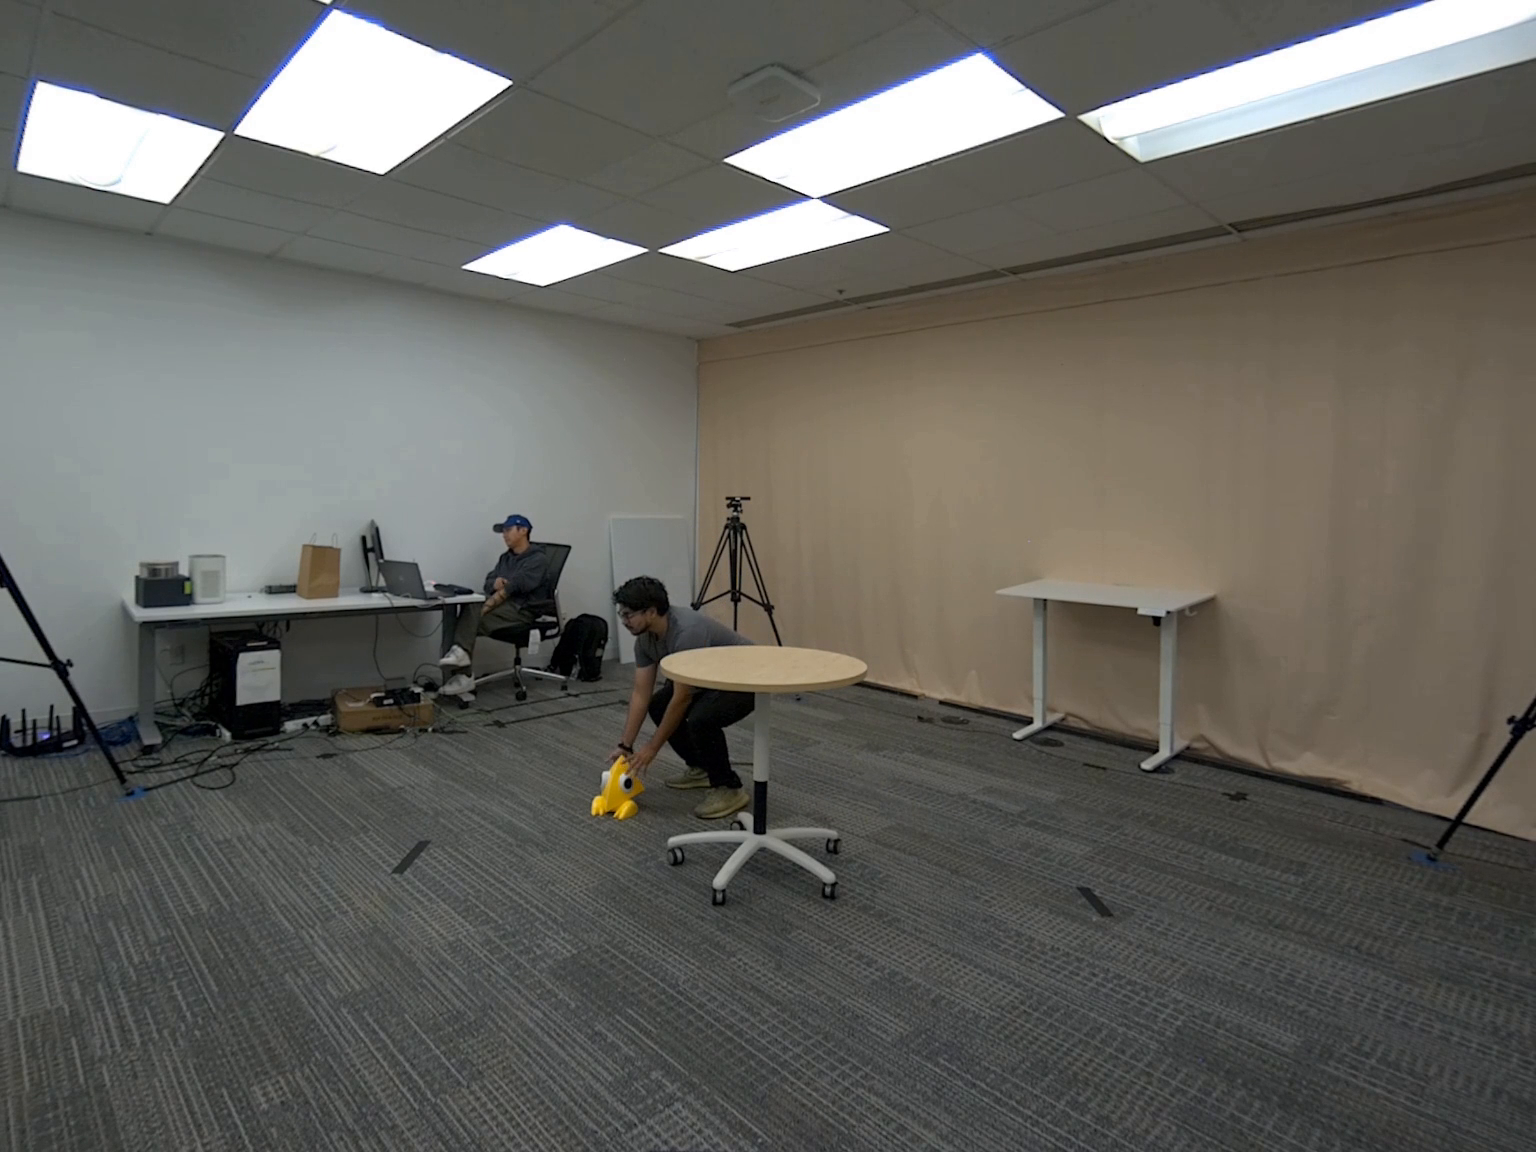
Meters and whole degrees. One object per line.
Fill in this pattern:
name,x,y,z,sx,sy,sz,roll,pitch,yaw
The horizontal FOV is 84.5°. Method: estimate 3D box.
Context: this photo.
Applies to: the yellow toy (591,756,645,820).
yellow toy,-0.689,0.932,3.728,0.207,0.230,0.191,1,3,14
